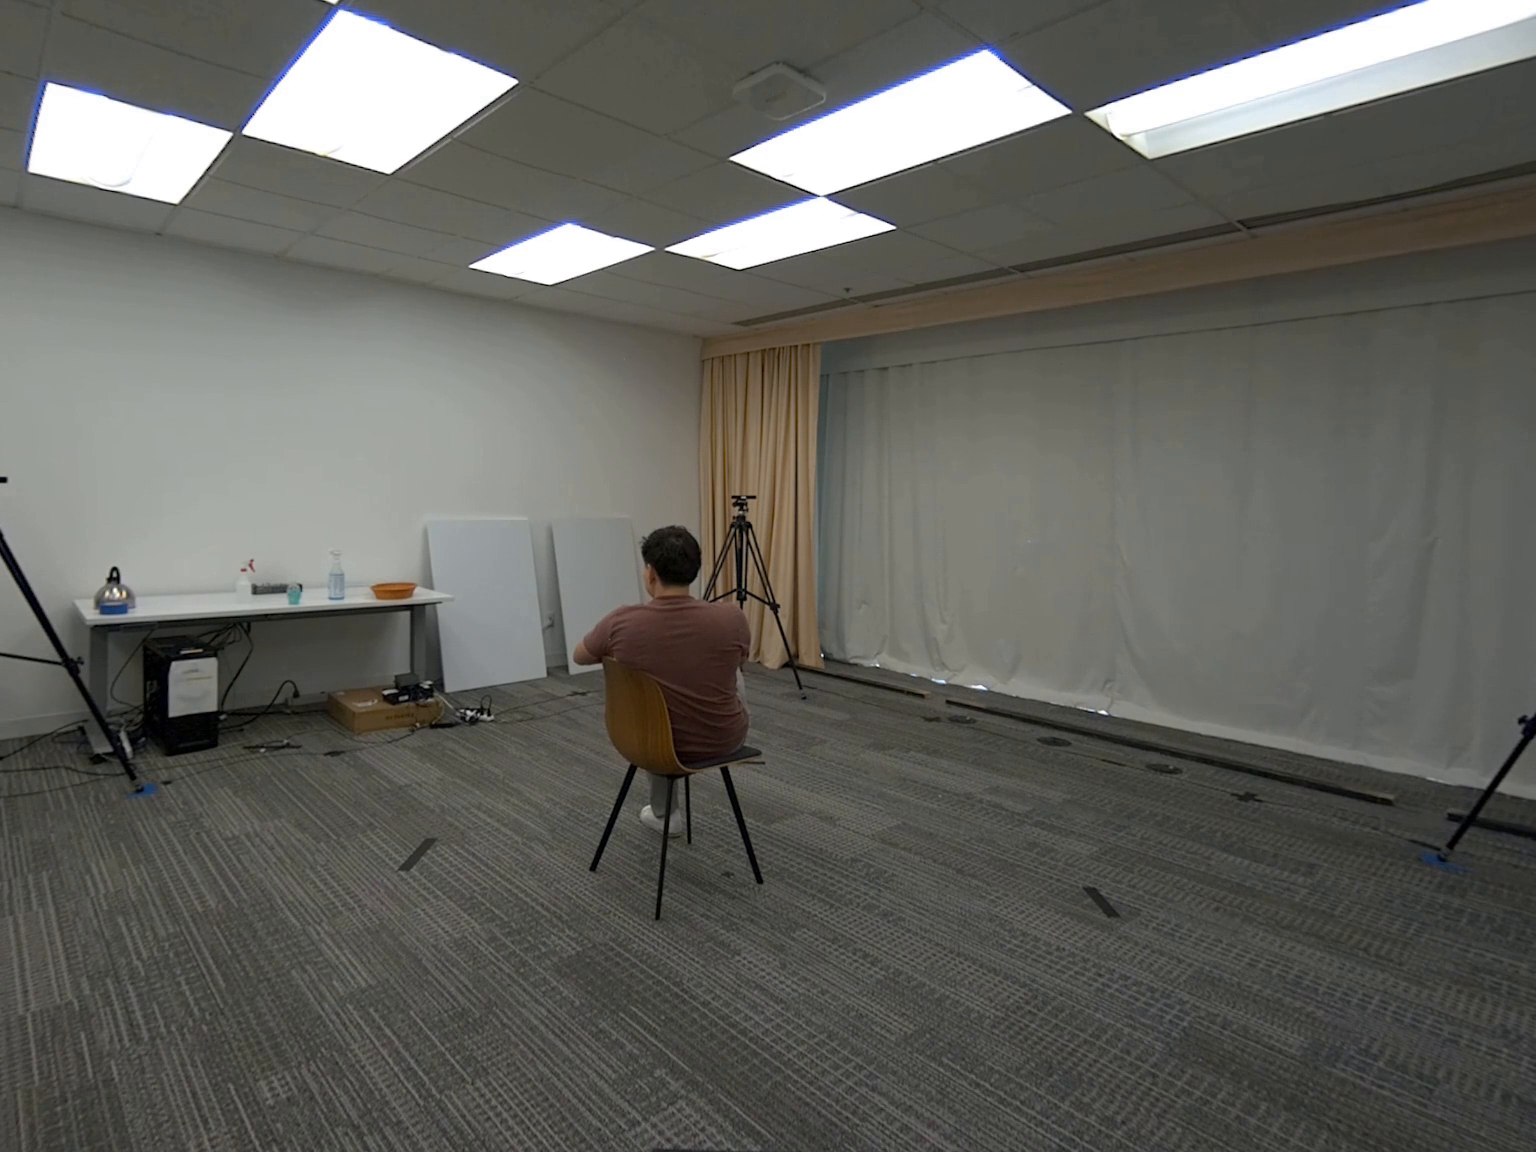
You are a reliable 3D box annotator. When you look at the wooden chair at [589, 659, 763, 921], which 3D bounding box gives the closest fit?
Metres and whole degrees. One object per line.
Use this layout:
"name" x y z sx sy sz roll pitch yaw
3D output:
"wooden chair" -0.325 0.677 3.043 0.512 0.873 0.490 -7 8 -39
